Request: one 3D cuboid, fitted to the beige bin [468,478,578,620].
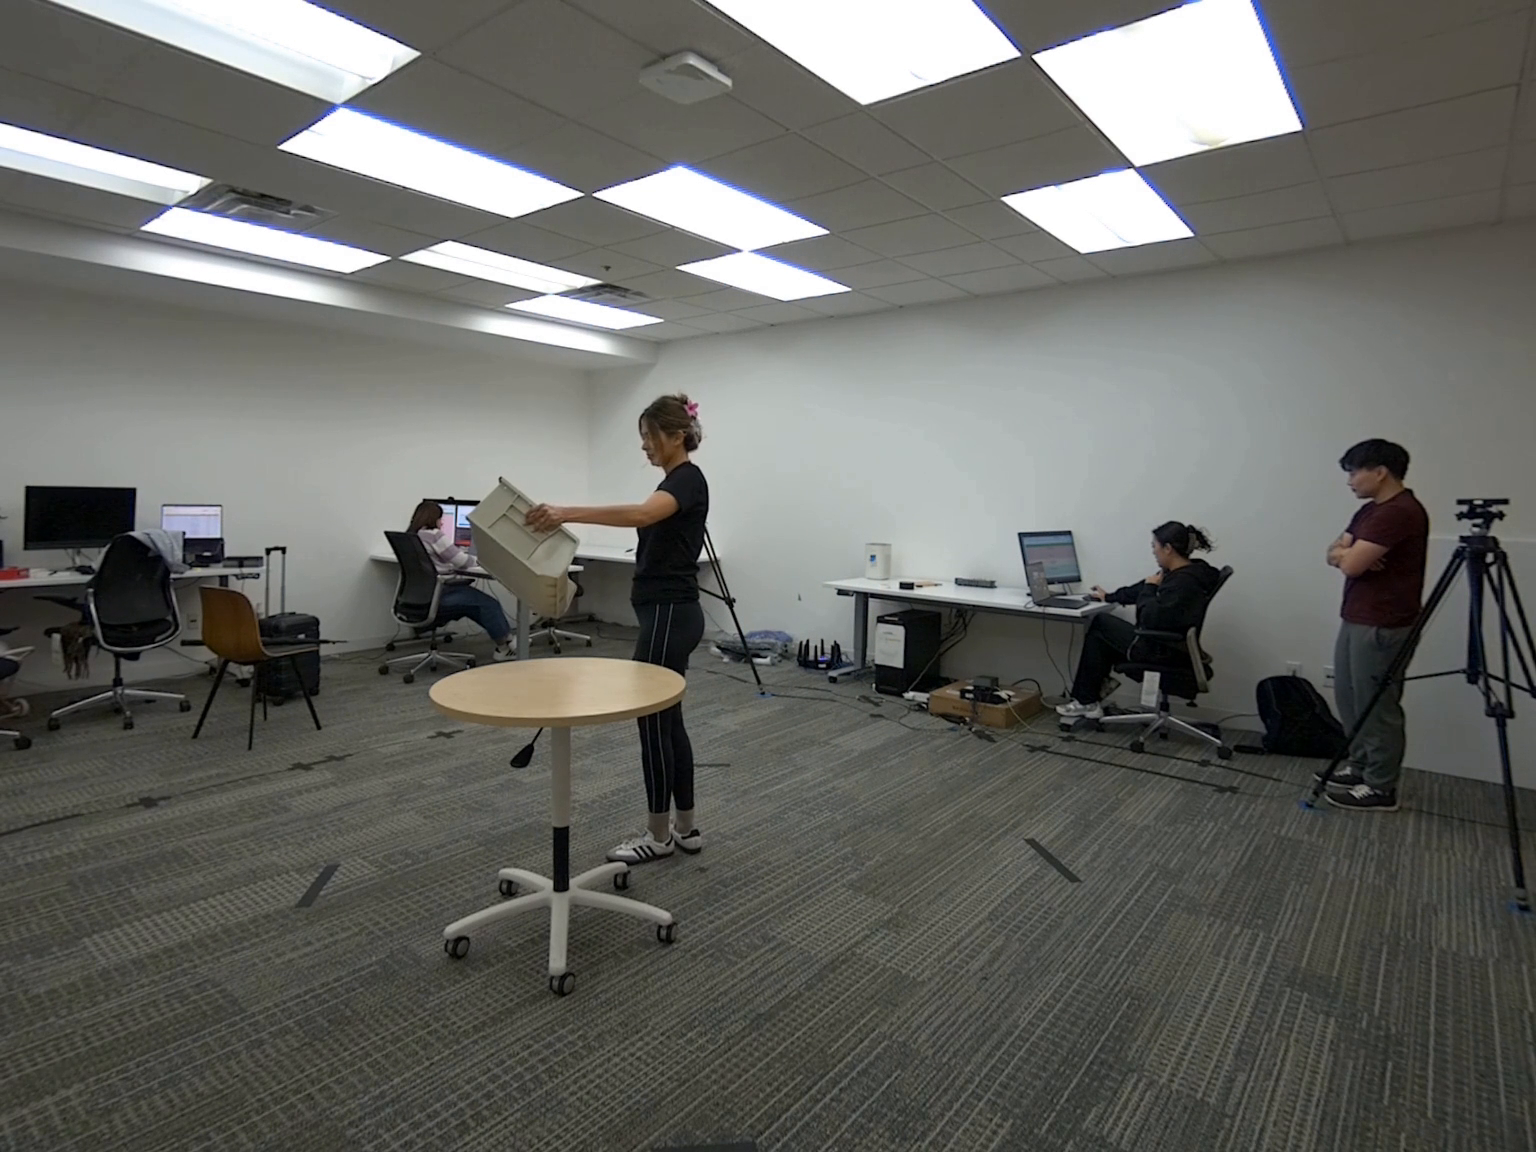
[{"bbox_3d":[-0.843,-0.073,2.917,0.380,0.189,0.419,39,-26,4],"label":"beige bin"}]
